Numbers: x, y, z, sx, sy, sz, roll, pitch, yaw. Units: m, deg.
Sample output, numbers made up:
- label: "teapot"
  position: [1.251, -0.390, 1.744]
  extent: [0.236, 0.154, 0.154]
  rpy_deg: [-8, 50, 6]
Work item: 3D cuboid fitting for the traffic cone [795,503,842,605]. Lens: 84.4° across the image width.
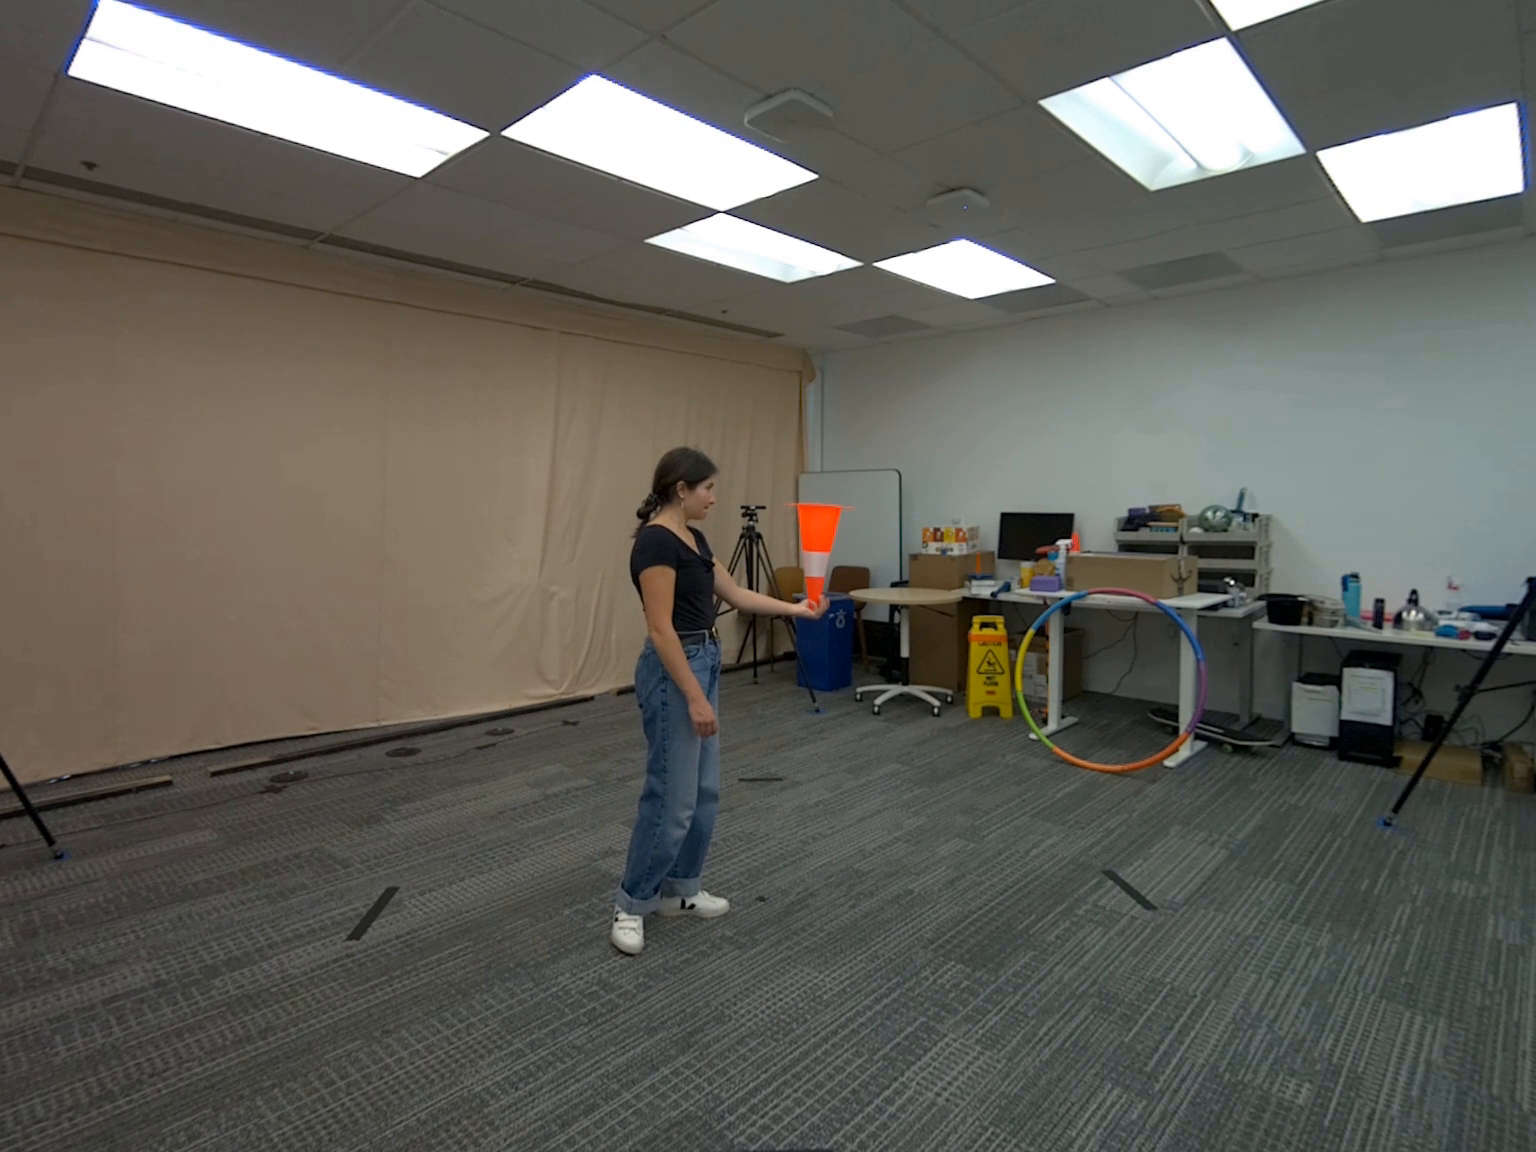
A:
- label: "traffic cone"
  position: [0.194, -0.059, 3.035]
  extent: [0.199, 0.383, 0.209]
  rpy_deg: [0, 2, -22]
